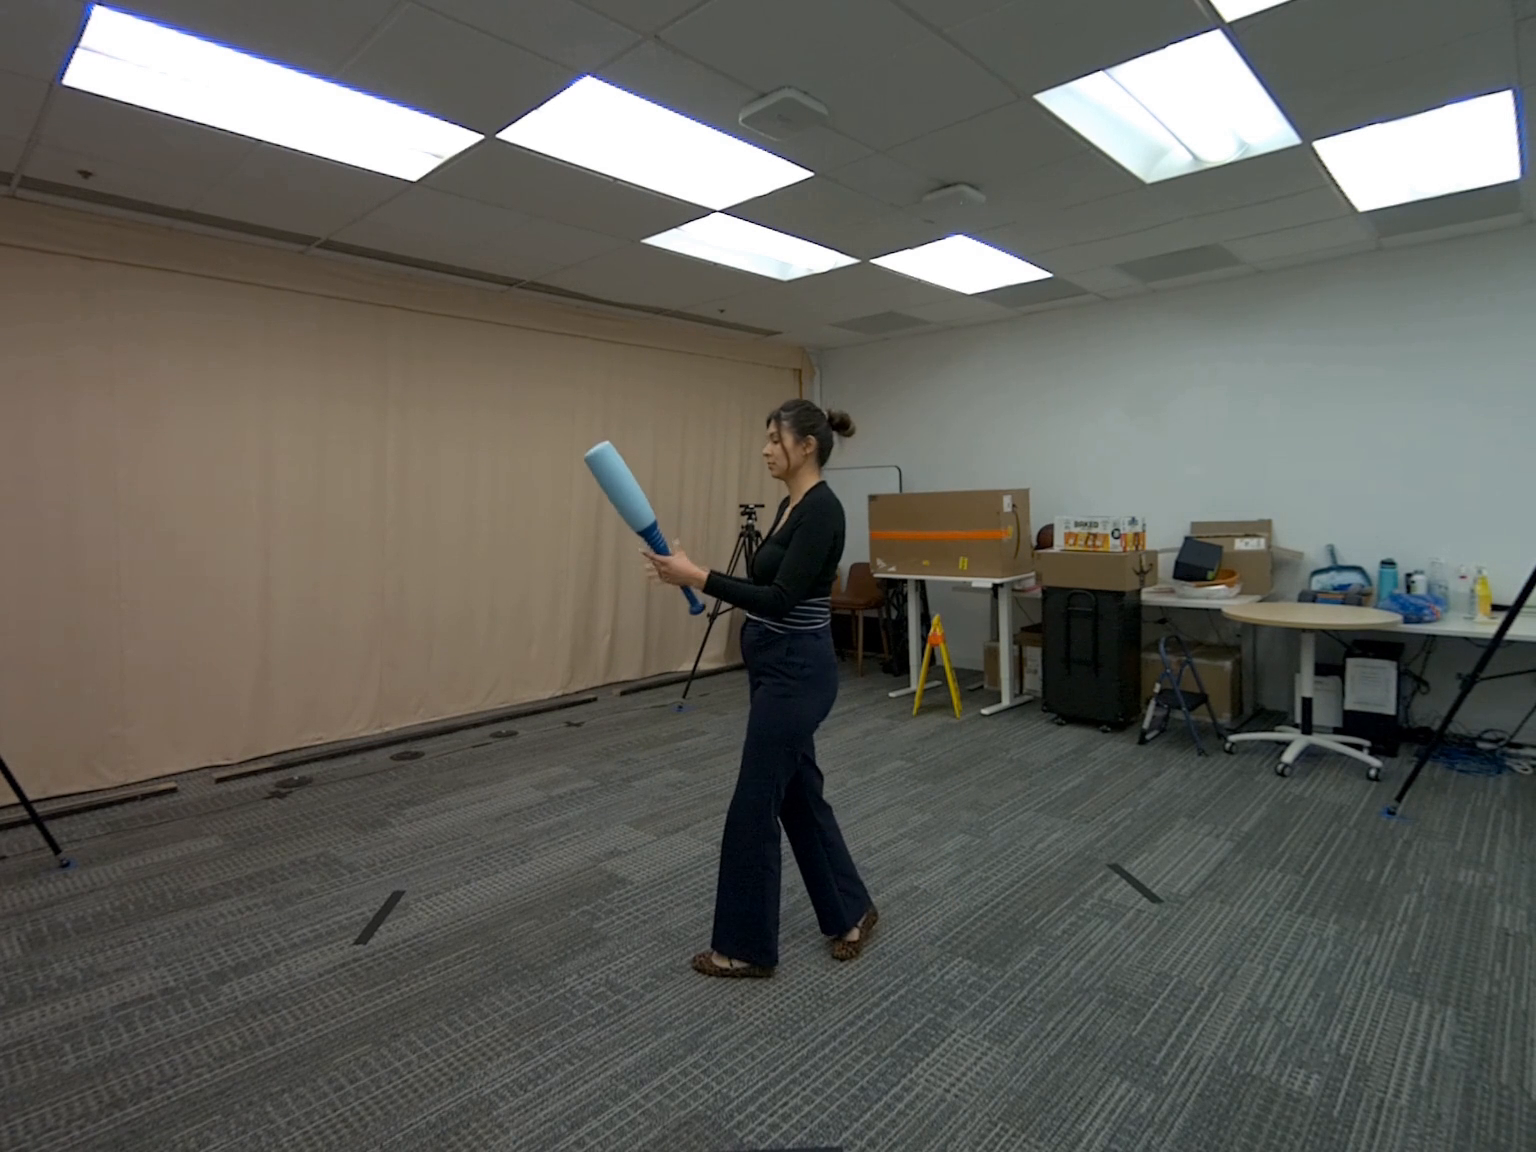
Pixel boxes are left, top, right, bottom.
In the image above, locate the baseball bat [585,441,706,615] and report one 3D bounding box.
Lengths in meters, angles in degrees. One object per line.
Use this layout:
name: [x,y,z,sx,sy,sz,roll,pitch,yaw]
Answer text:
baseball bat: [-0.334,-0.097,2.305,0.089,0.533,0.090,-29,16,8]
